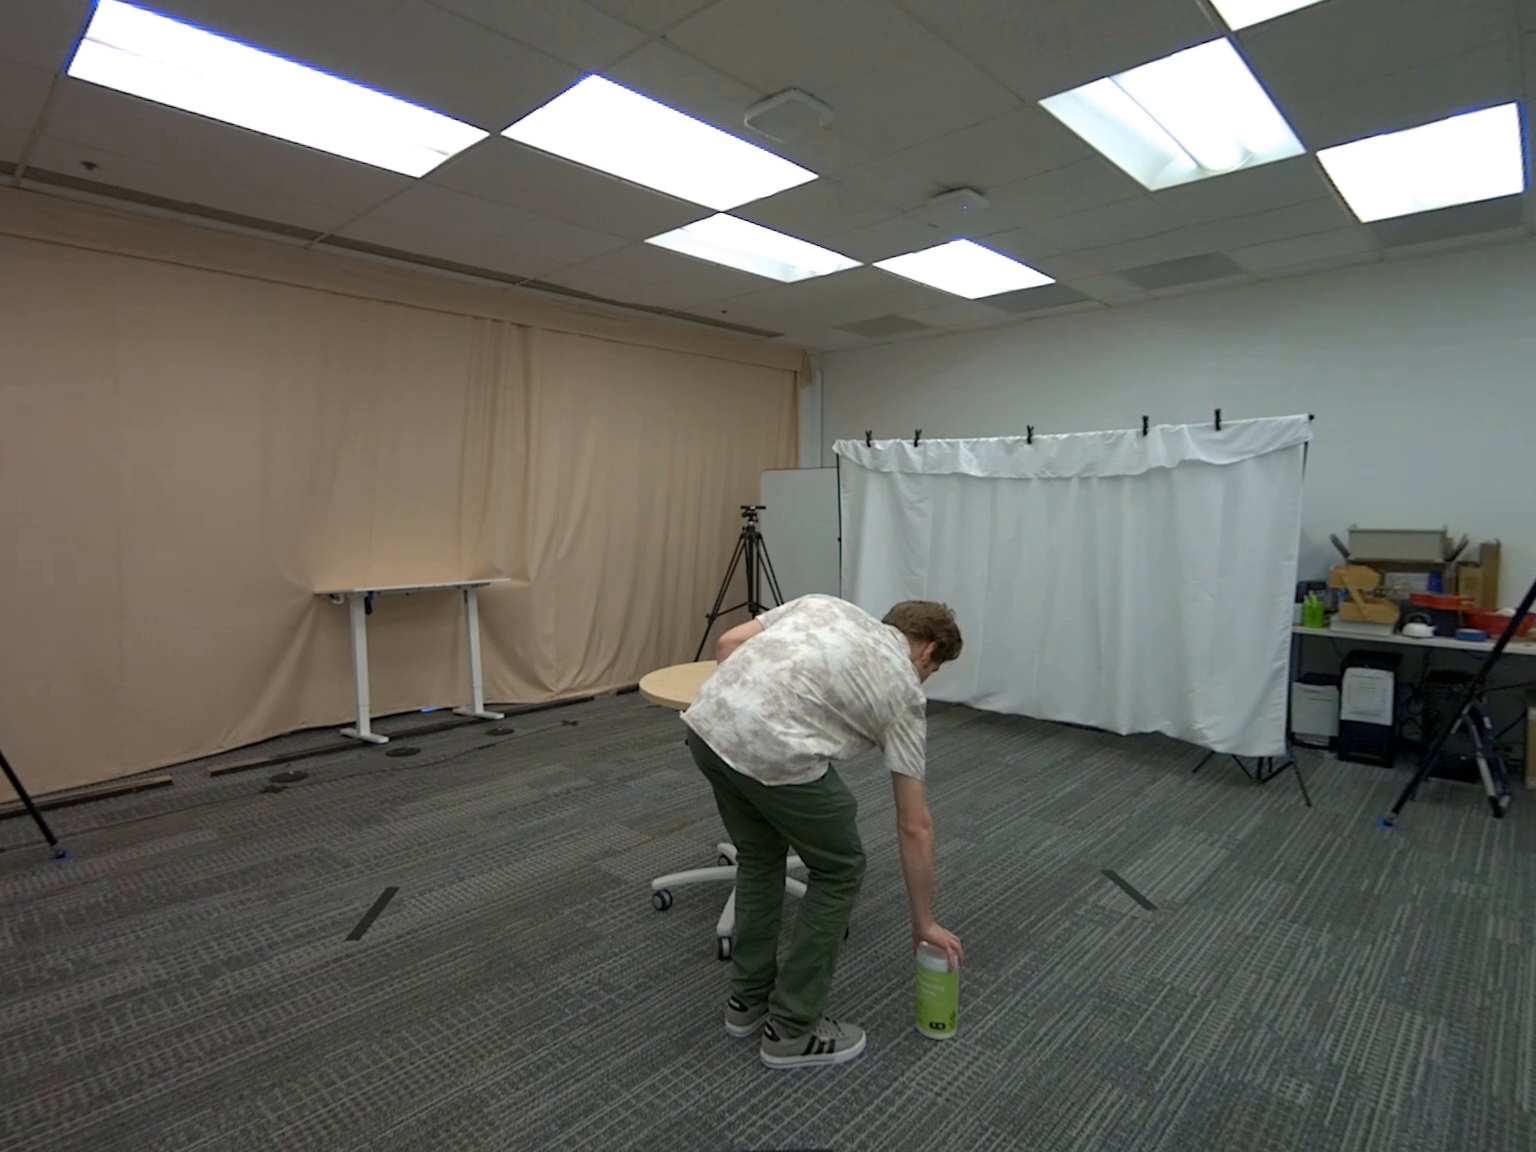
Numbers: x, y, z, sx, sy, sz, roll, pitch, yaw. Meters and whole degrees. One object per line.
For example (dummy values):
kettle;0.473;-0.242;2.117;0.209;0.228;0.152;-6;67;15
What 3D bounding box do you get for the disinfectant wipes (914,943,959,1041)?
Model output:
disinfectant wipes;0.453;1.104;2.226;0.118;0.217;0.118;0;3;-2
